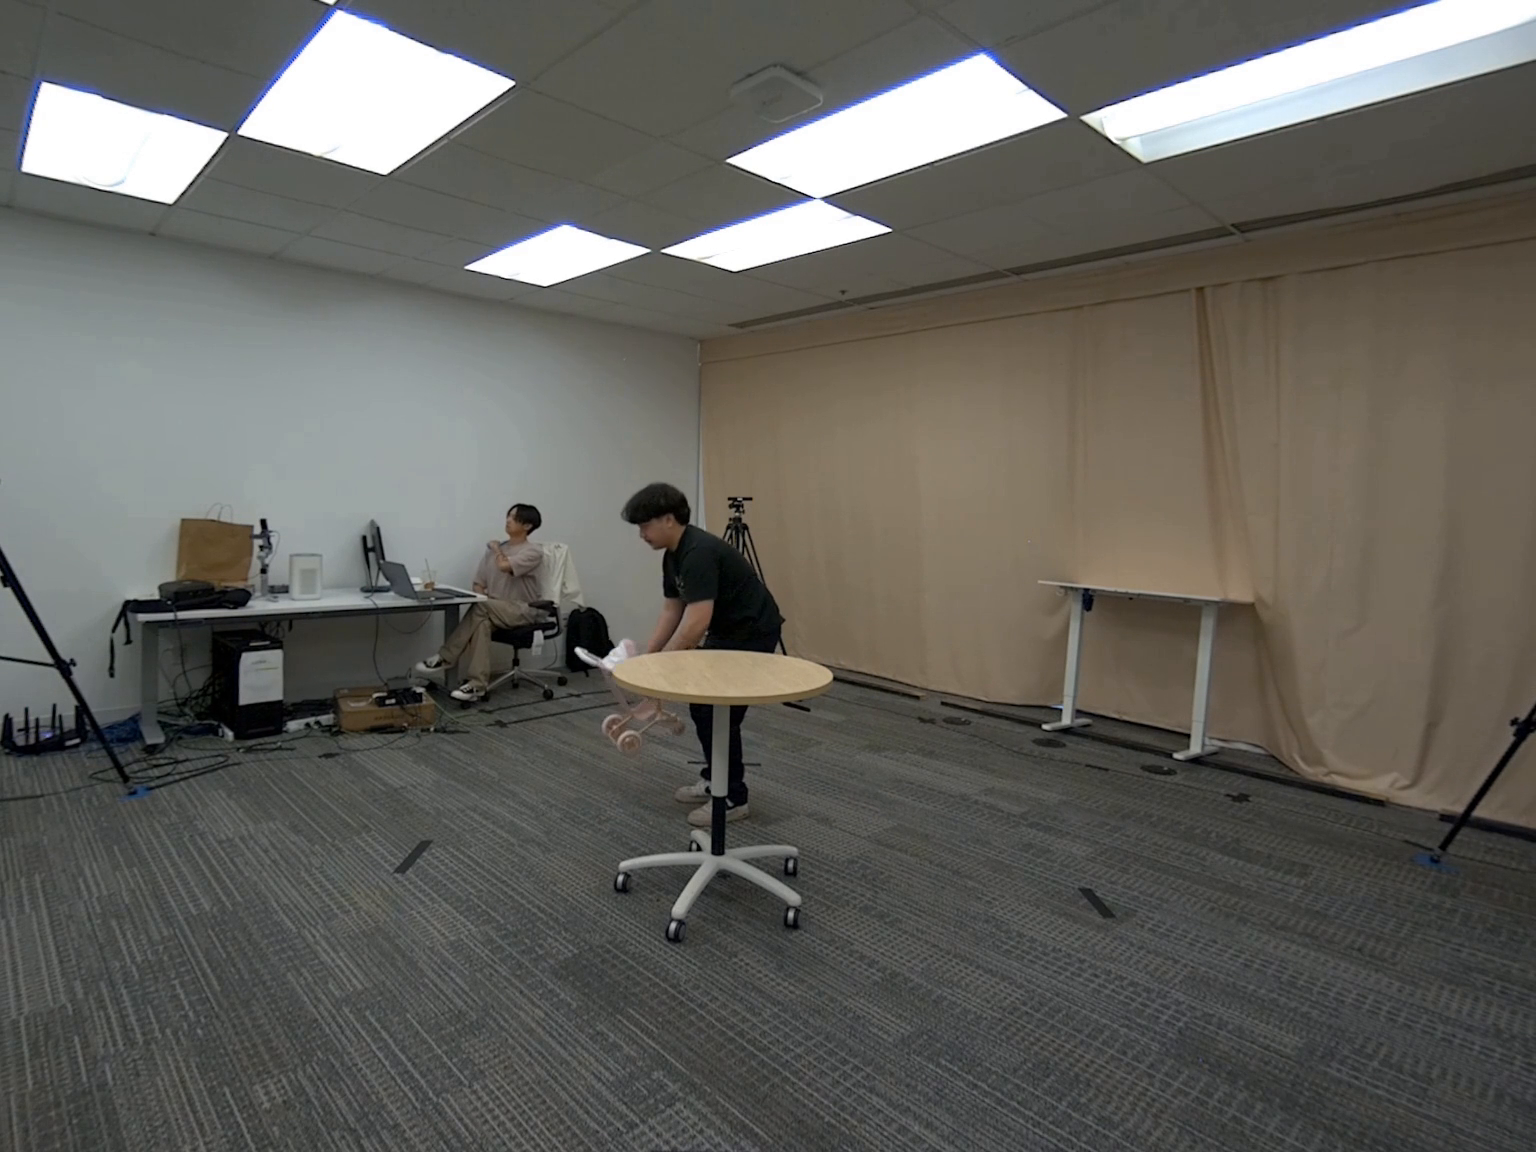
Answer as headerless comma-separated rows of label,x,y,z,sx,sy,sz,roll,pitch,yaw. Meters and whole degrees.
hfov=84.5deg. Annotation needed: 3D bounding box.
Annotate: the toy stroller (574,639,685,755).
toy stroller,-0.585,0.504,3.634,0.339,0.529,0.286,-21,12,-16
